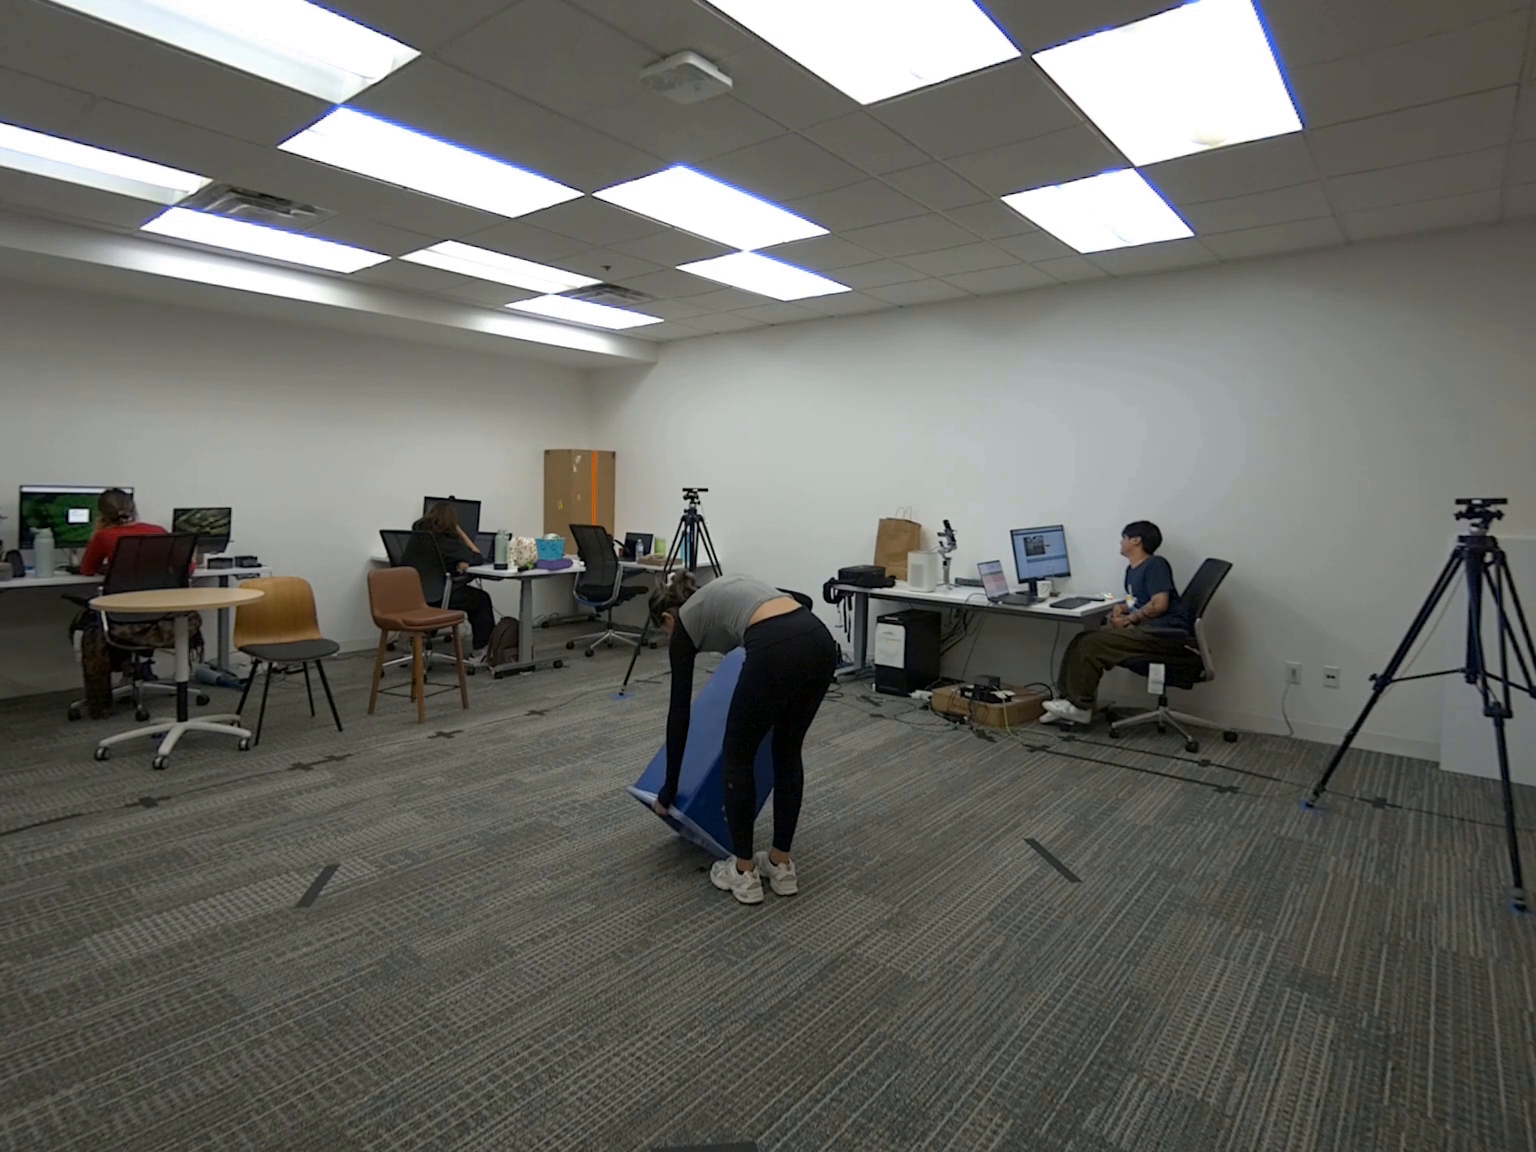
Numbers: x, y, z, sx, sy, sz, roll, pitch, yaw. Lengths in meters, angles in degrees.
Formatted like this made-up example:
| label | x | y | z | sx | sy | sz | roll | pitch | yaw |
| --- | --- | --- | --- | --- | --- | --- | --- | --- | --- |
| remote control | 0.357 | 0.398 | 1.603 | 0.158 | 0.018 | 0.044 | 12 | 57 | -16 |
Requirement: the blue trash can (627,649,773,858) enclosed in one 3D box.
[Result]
| label | x | y | z | sx | sy | sz | roll | pitch | yaw |
| --- | --- | --- | --- | --- | --- | --- | --- | --- | --- |
| blue trash can | -0.168 | 0.664 | 3.331 | 0.391 | 0.716 | 0.360 | 5 | -35 | 50 |
